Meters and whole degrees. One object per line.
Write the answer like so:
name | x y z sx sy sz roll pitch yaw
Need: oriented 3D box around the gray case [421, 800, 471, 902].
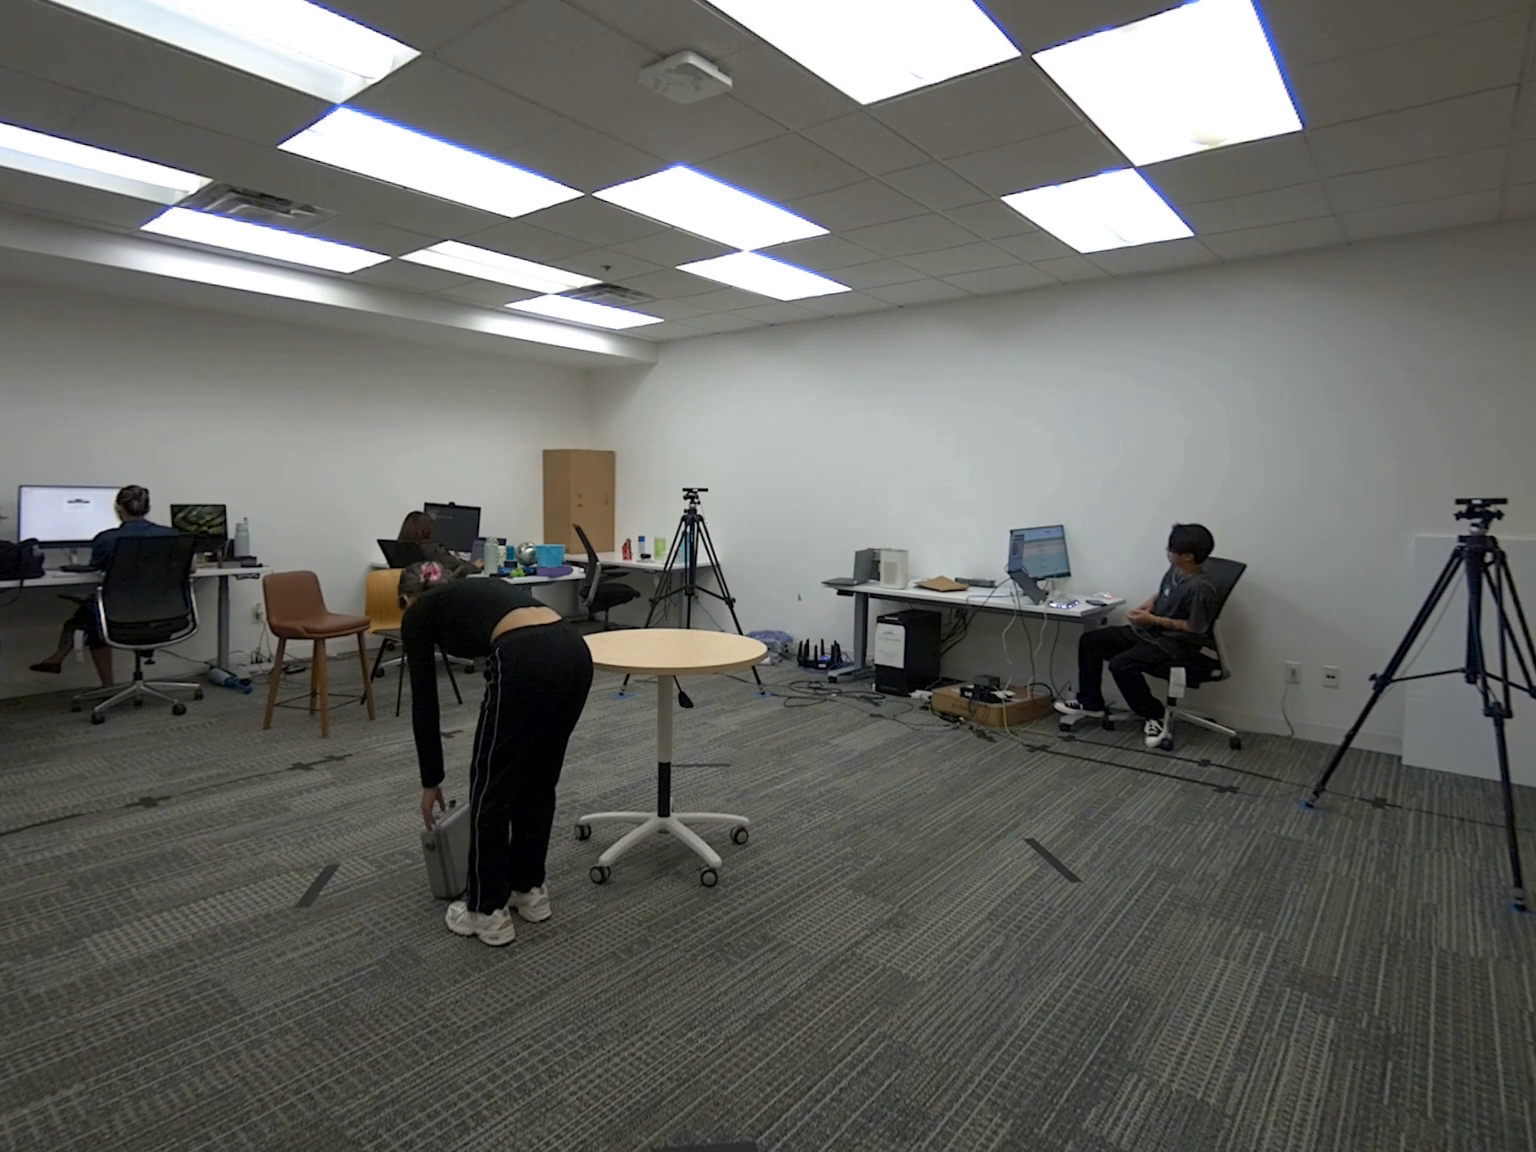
gray case | -1.092 0.937 2.948 0.105 0.260 0.255 -7 3 7
